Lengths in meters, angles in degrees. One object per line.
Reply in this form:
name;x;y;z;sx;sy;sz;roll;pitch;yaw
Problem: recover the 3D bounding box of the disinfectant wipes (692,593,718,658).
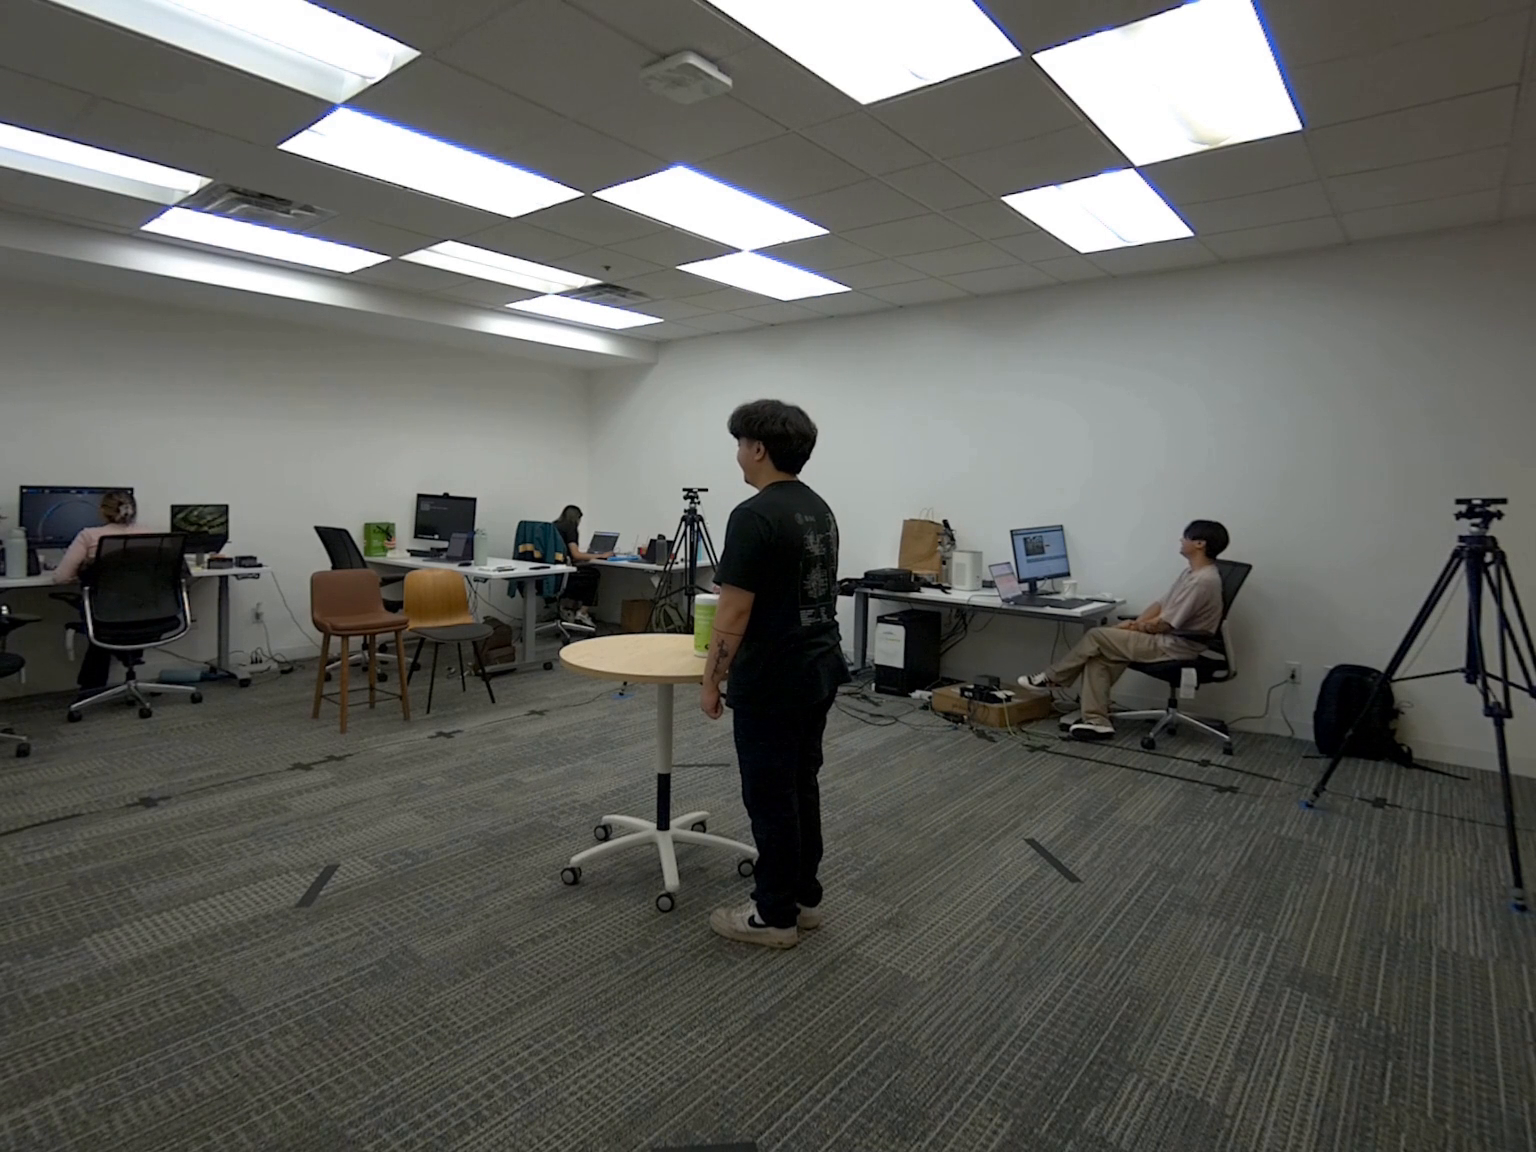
disinfectant wipes;-0.224;0.179;3.060;0.117;0.216;0.118;2;6;-2
